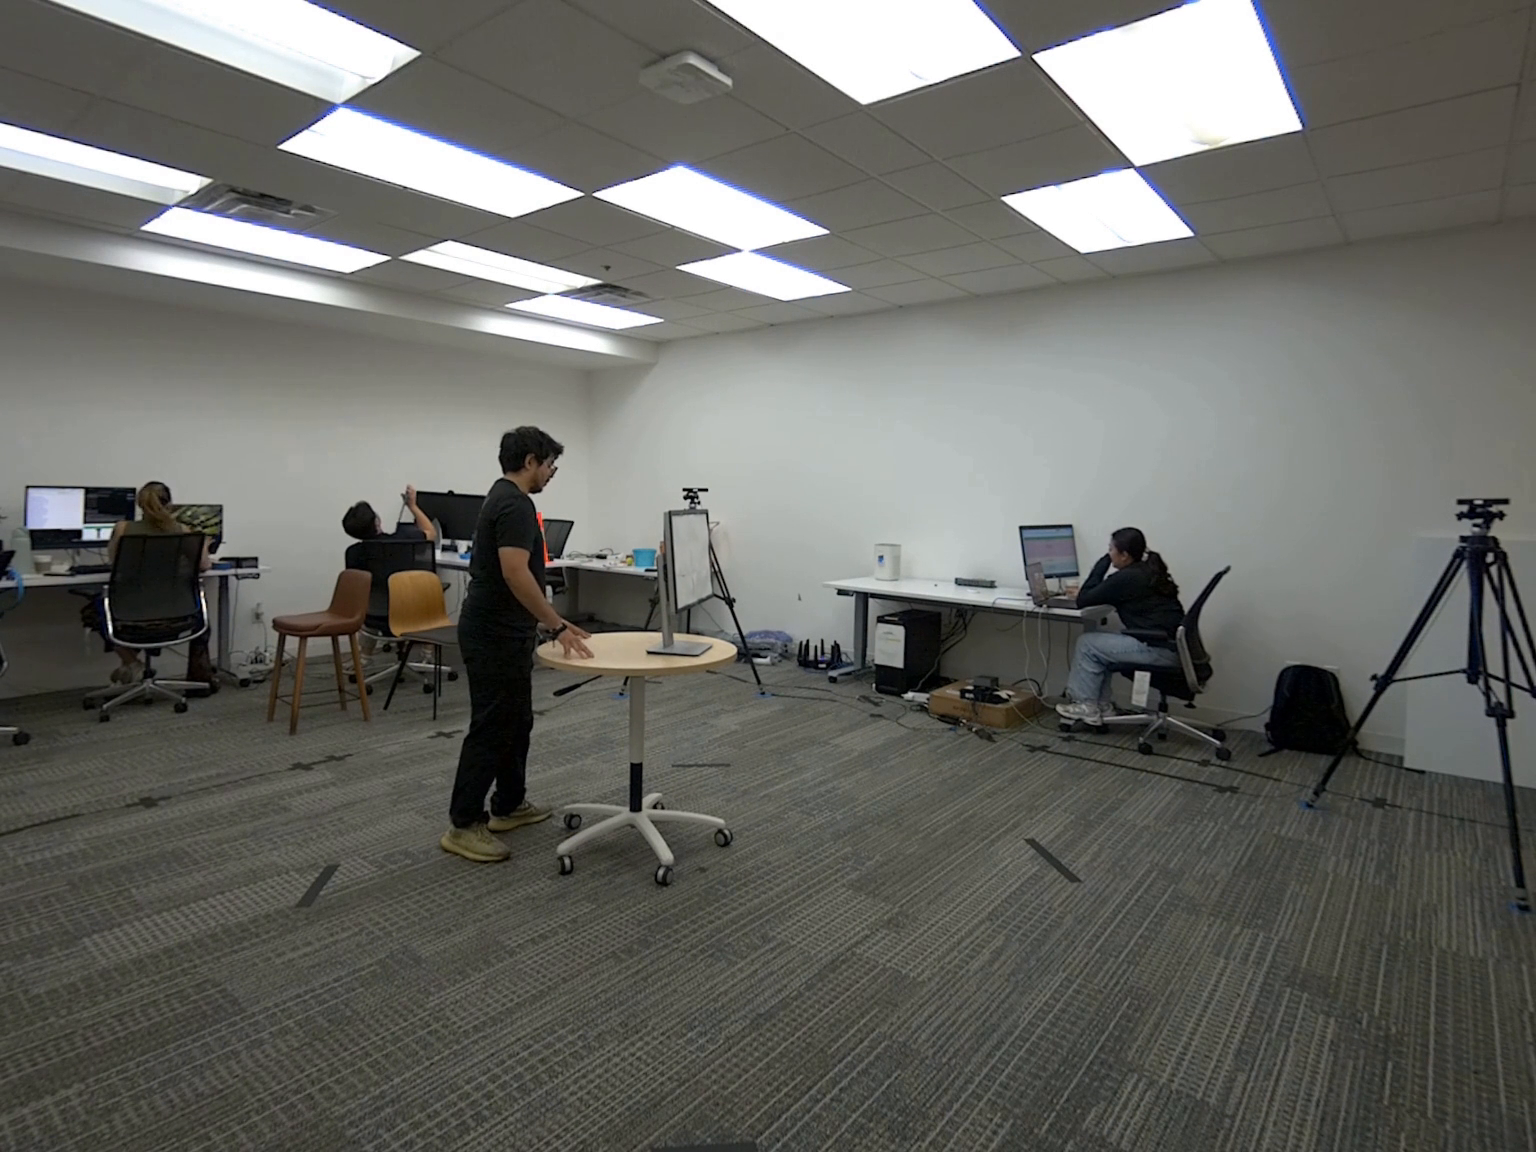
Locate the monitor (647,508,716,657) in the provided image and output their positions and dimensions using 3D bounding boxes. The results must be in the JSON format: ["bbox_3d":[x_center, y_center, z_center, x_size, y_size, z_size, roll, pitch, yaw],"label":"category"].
[{"bbox_3d":[-0.366,0.021,3.243,0.212,0.552,0.561,-1,3,9],"label":"monitor"}]
